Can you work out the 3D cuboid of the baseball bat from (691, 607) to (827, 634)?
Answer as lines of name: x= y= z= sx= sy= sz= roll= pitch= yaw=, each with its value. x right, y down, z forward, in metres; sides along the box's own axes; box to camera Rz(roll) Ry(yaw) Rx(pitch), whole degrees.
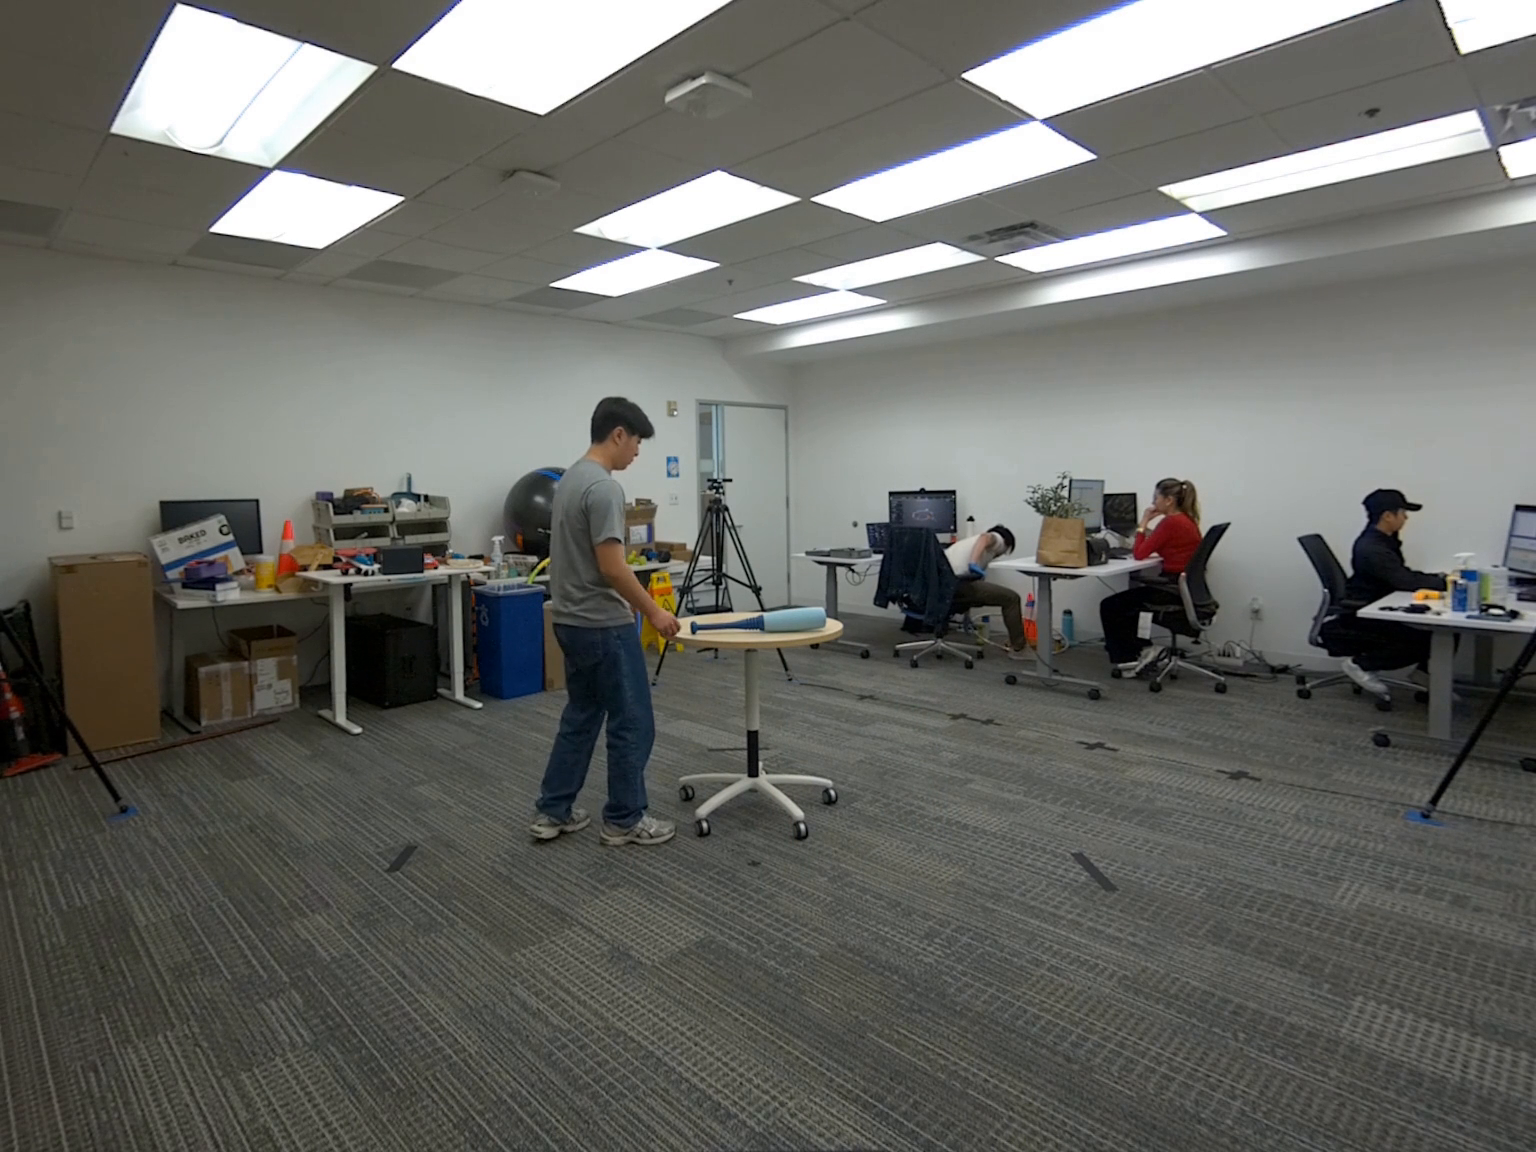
baseball bat: x=-0.040 y=0.187 z=3.397 sx=0.540 sy=0.089 sz=0.090 roll=-5 pitch=5 yaw=-6
